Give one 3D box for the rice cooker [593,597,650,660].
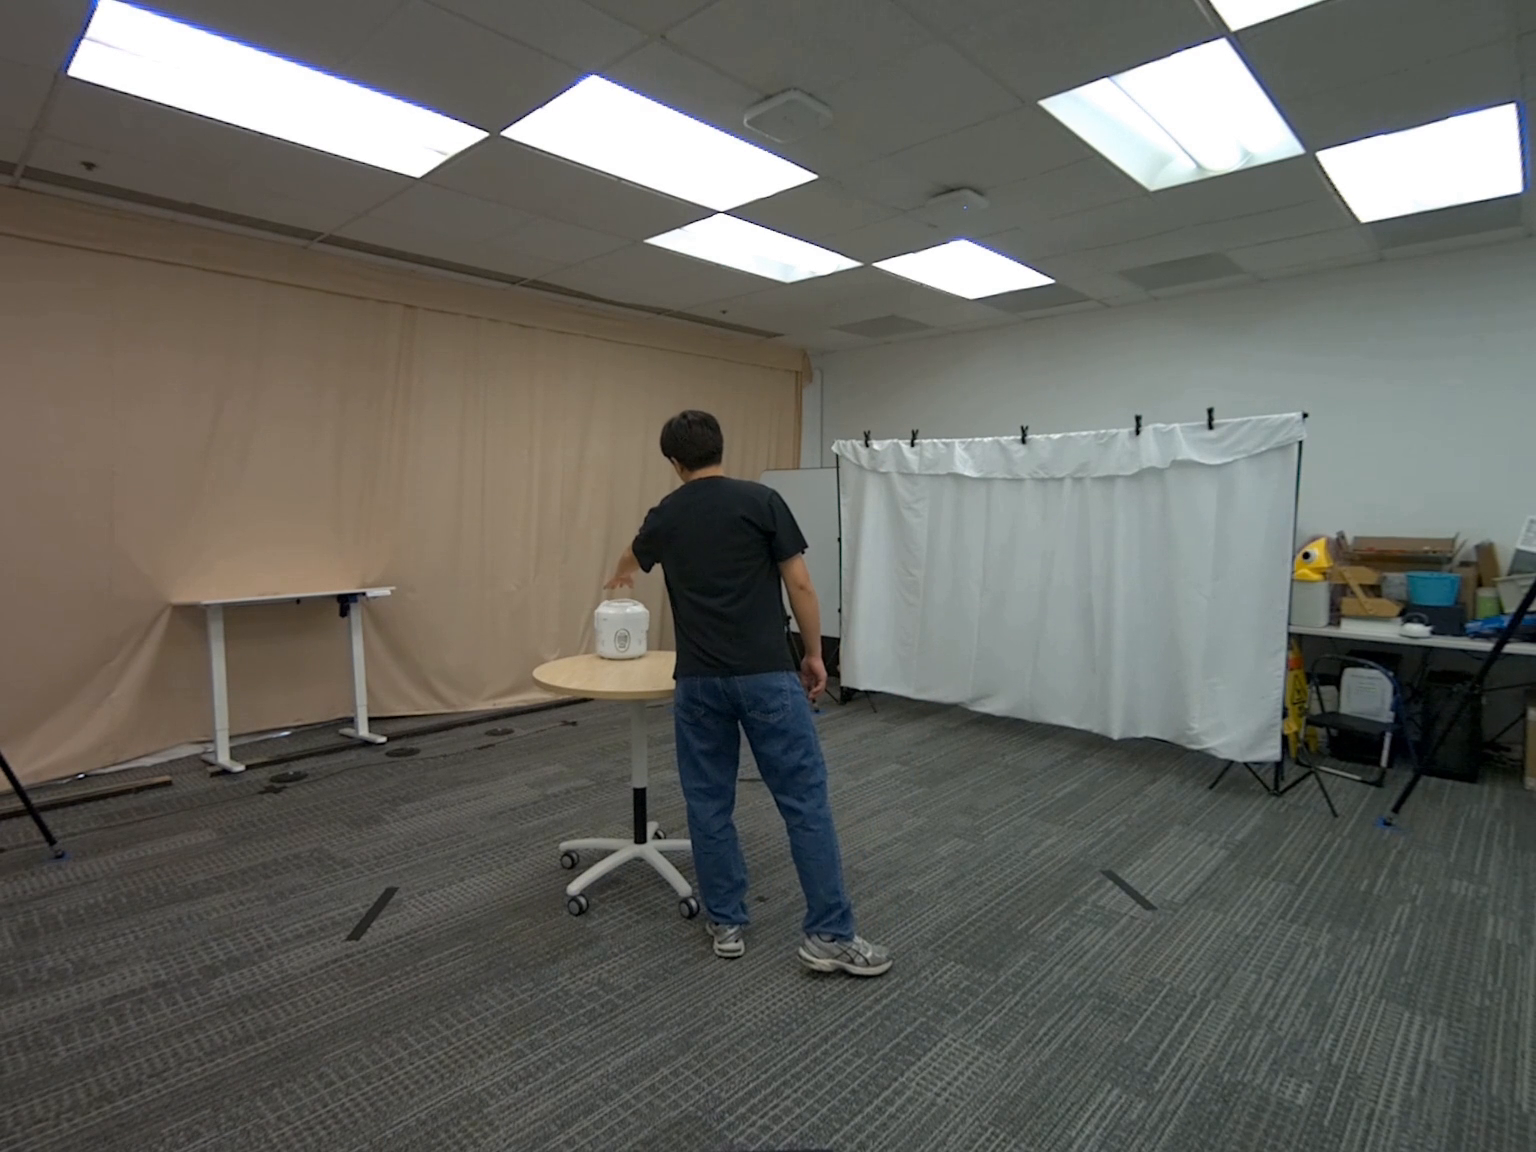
[{"bbox_3d":[-0.586,0.206,3.372,0.218,0.232,0.220,-2,2,-11],"label":"rice cooker"}]
